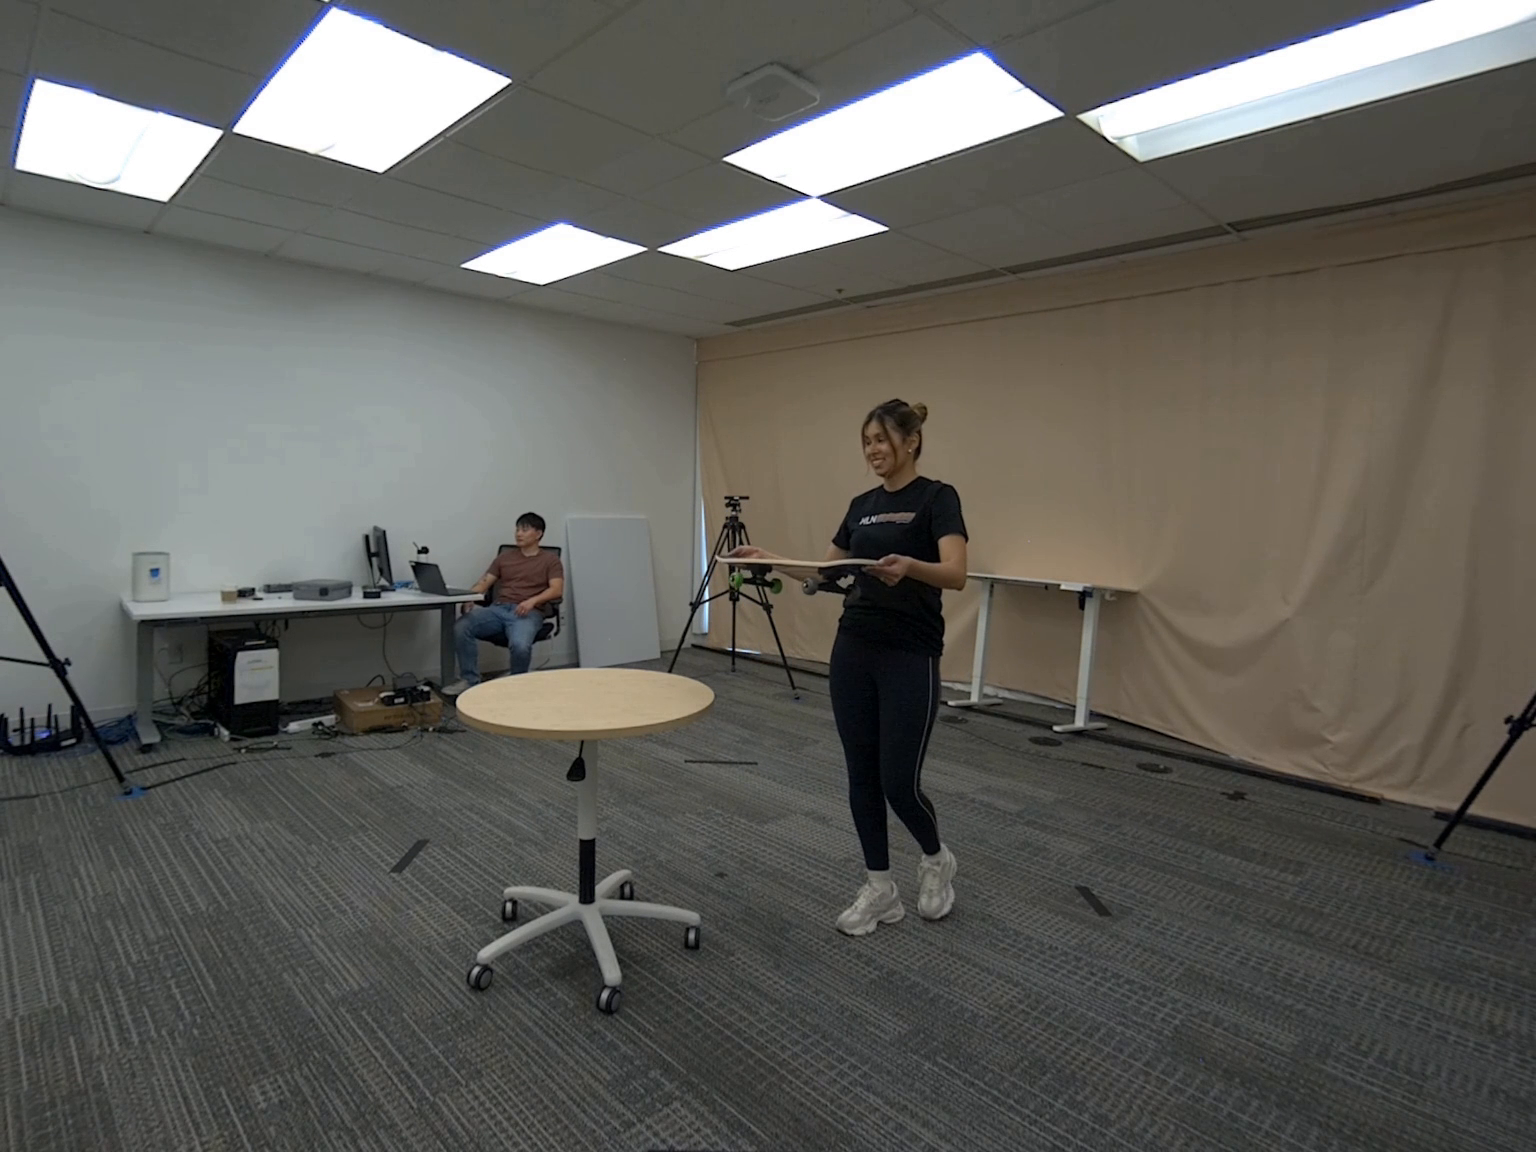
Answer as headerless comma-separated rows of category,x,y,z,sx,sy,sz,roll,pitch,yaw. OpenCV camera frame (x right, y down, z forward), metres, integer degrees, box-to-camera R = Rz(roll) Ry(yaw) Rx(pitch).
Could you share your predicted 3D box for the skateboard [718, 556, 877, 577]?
skateboard,0.083,0.006,2.551,0.189,0.110,0.802,11,-4,-33
